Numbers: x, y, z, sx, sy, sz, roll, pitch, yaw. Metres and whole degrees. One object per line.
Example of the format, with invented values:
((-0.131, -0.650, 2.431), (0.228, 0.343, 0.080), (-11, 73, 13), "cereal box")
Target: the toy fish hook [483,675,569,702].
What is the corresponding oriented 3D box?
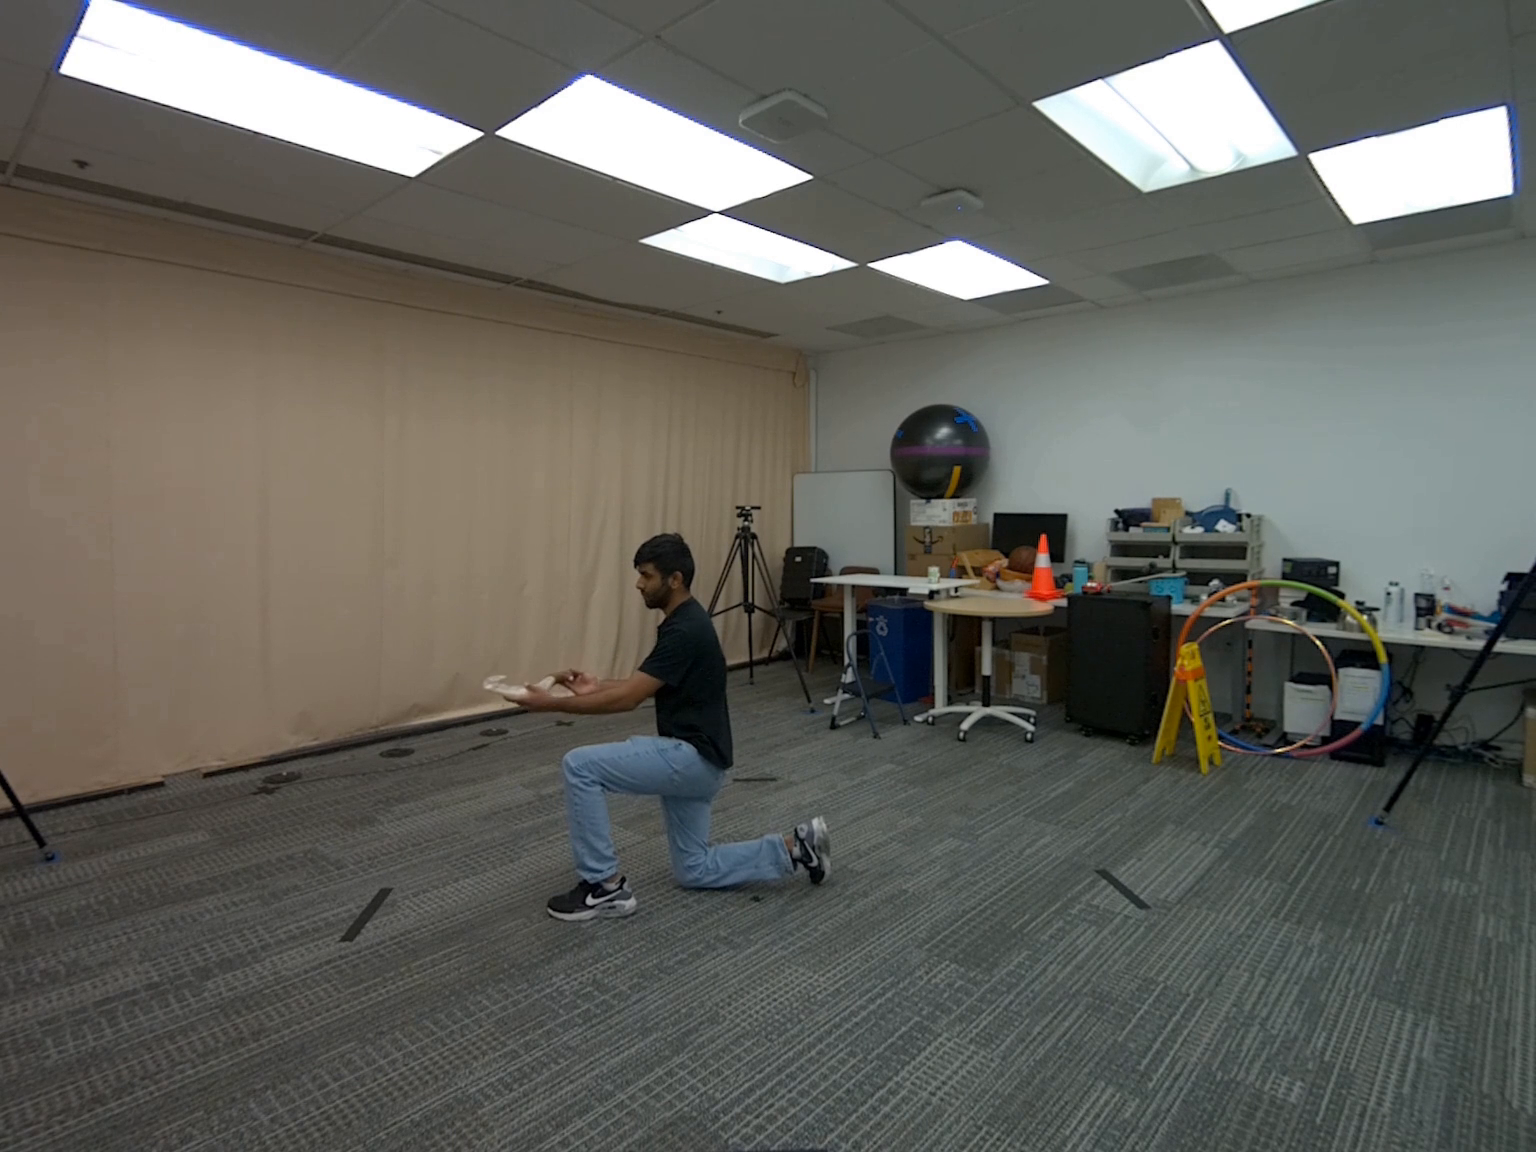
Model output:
((-0.848, 0.379, 3.124), (0.228, 0.048, 0.499), (14, 5, 13), "toy fish hook")
